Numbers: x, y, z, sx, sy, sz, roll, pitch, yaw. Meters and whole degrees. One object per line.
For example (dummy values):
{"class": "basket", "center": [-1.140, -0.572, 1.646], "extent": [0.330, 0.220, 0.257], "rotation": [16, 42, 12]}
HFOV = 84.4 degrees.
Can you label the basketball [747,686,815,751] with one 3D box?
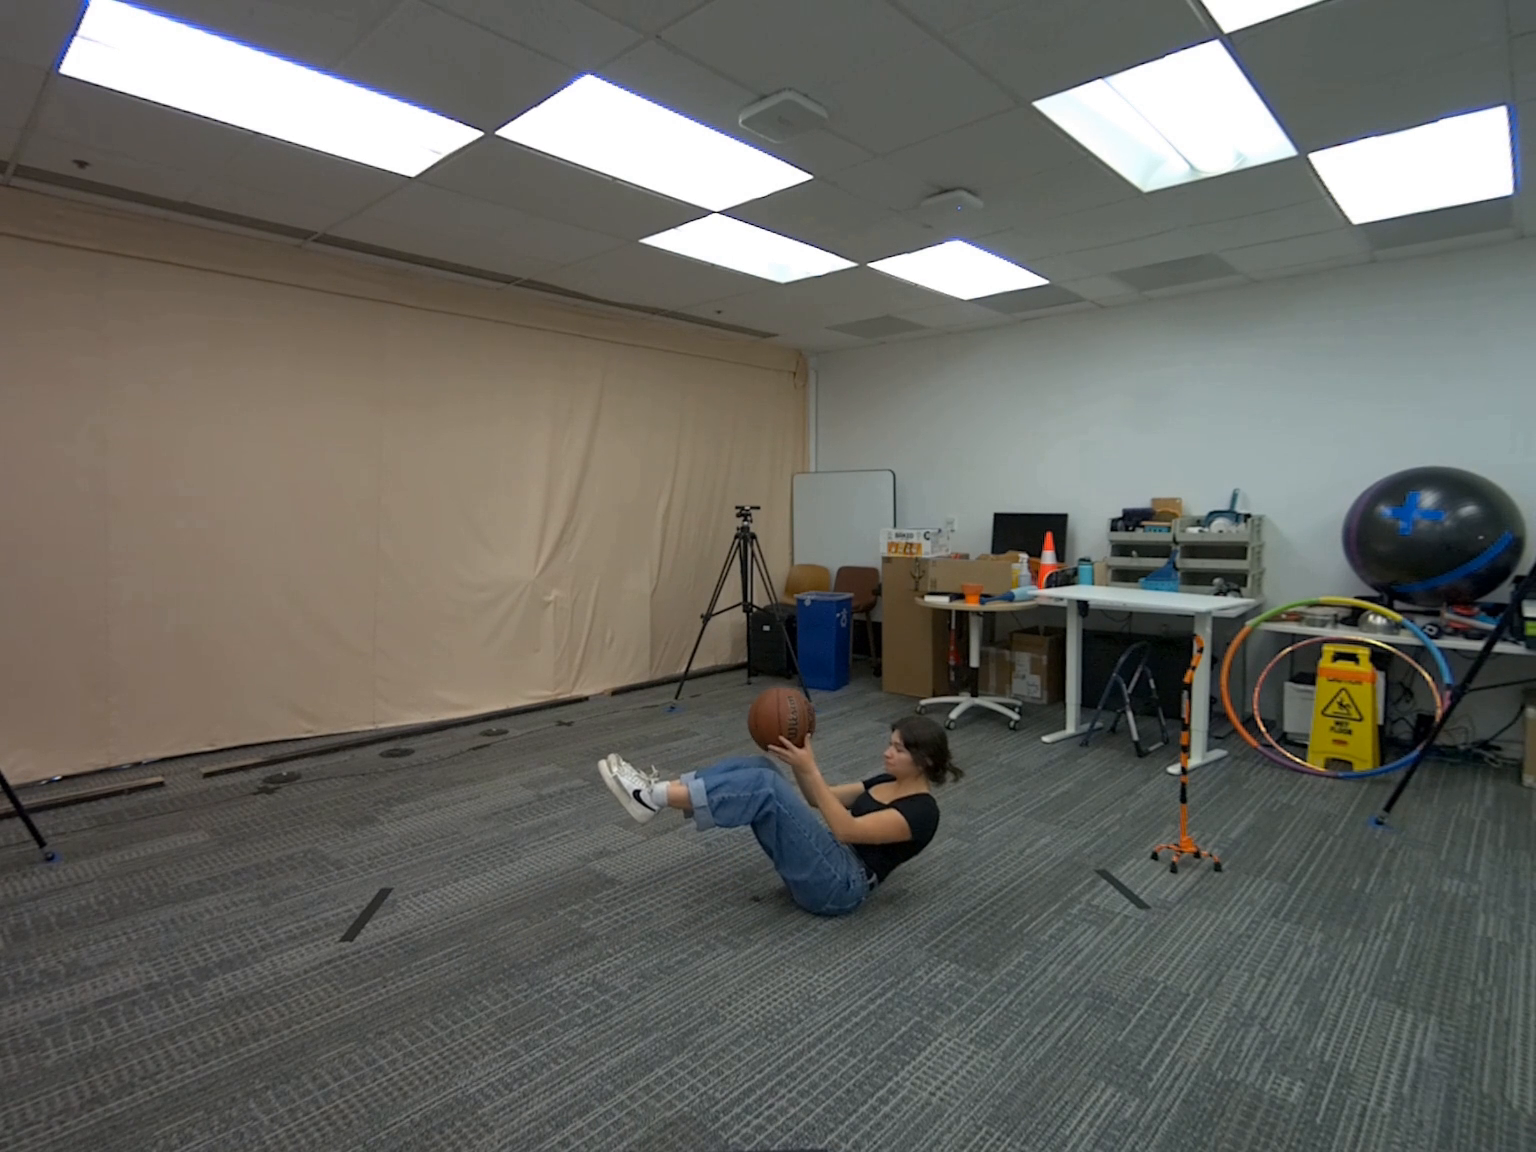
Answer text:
{"class": "basketball", "center": [0.050, 0.517, 2.973], "extent": [0.236, 0.235, 0.237], "rotation": [0, 4, -2]}
